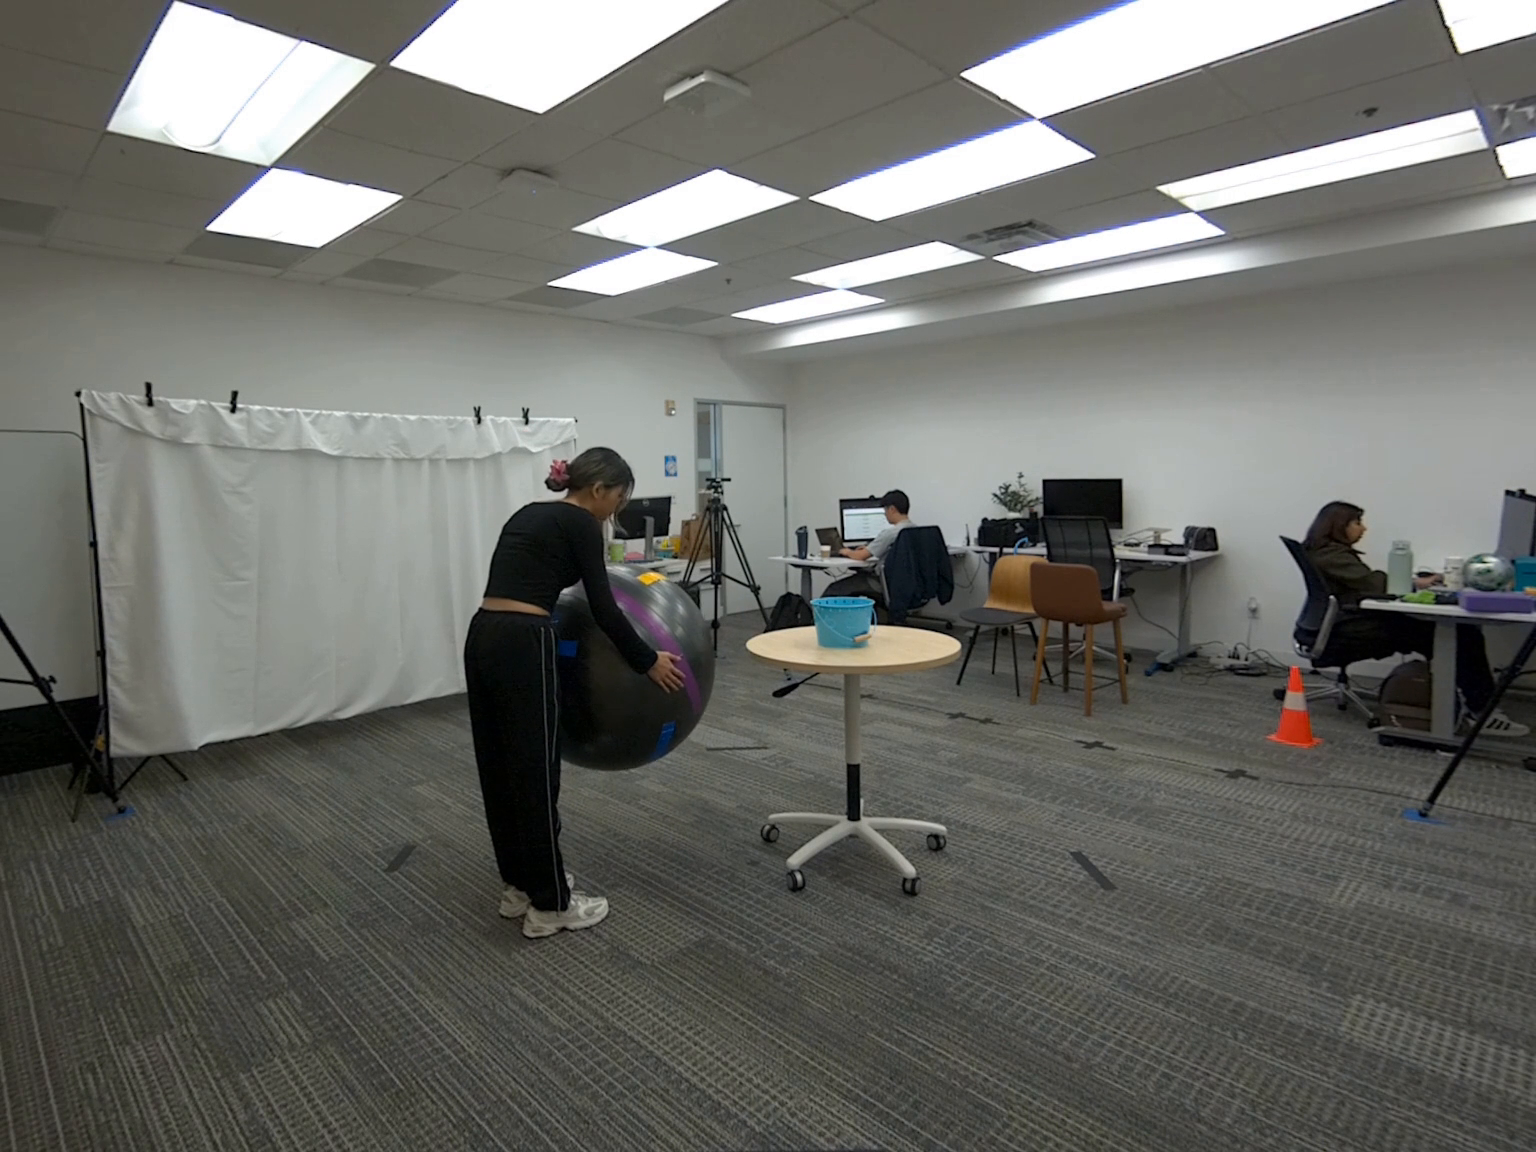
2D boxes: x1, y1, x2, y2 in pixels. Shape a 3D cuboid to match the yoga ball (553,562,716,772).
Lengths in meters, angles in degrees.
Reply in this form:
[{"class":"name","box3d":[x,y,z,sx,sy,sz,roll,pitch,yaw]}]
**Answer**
[{"class":"yoga ball","box3d":[-0.585,0.338,3.176,0.757,0.755,0.762,-1,5,-2]}]
